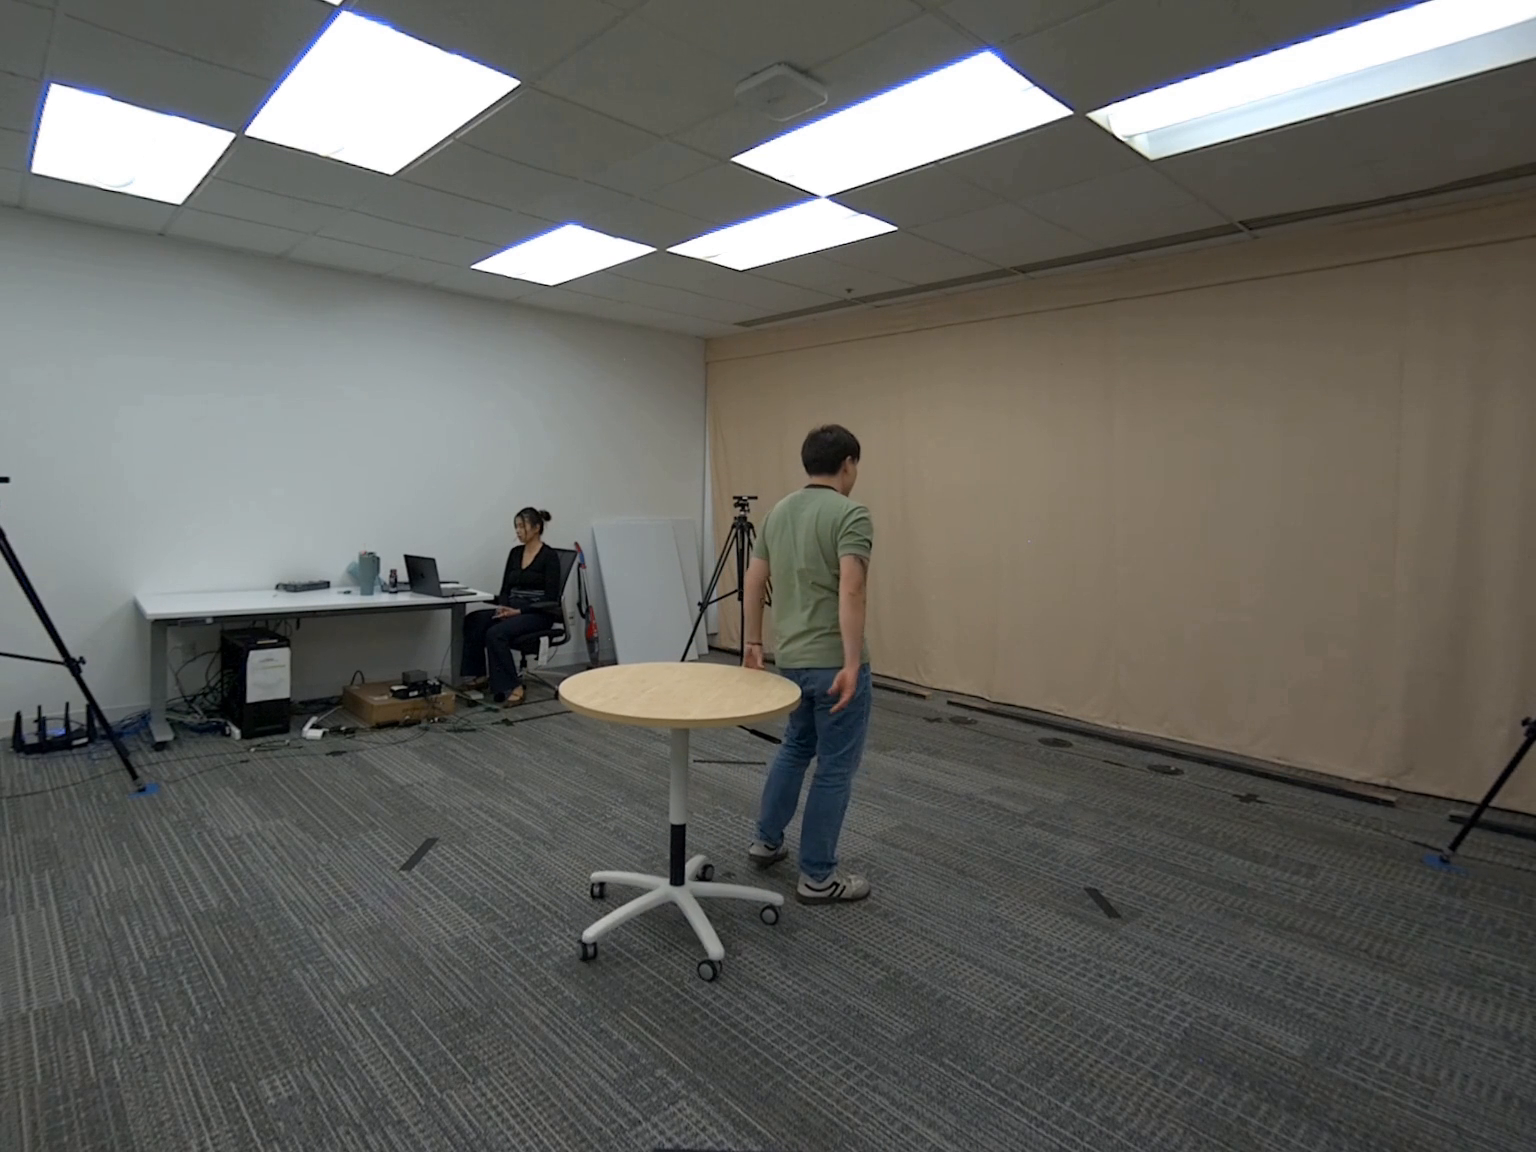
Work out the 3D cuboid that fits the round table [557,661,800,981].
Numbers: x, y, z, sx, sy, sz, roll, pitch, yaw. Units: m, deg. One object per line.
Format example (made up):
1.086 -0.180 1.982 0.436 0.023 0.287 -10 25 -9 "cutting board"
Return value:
-0.293 0.746 2.703 0.763 0.791 0.767 1 5 -1 "round table"
